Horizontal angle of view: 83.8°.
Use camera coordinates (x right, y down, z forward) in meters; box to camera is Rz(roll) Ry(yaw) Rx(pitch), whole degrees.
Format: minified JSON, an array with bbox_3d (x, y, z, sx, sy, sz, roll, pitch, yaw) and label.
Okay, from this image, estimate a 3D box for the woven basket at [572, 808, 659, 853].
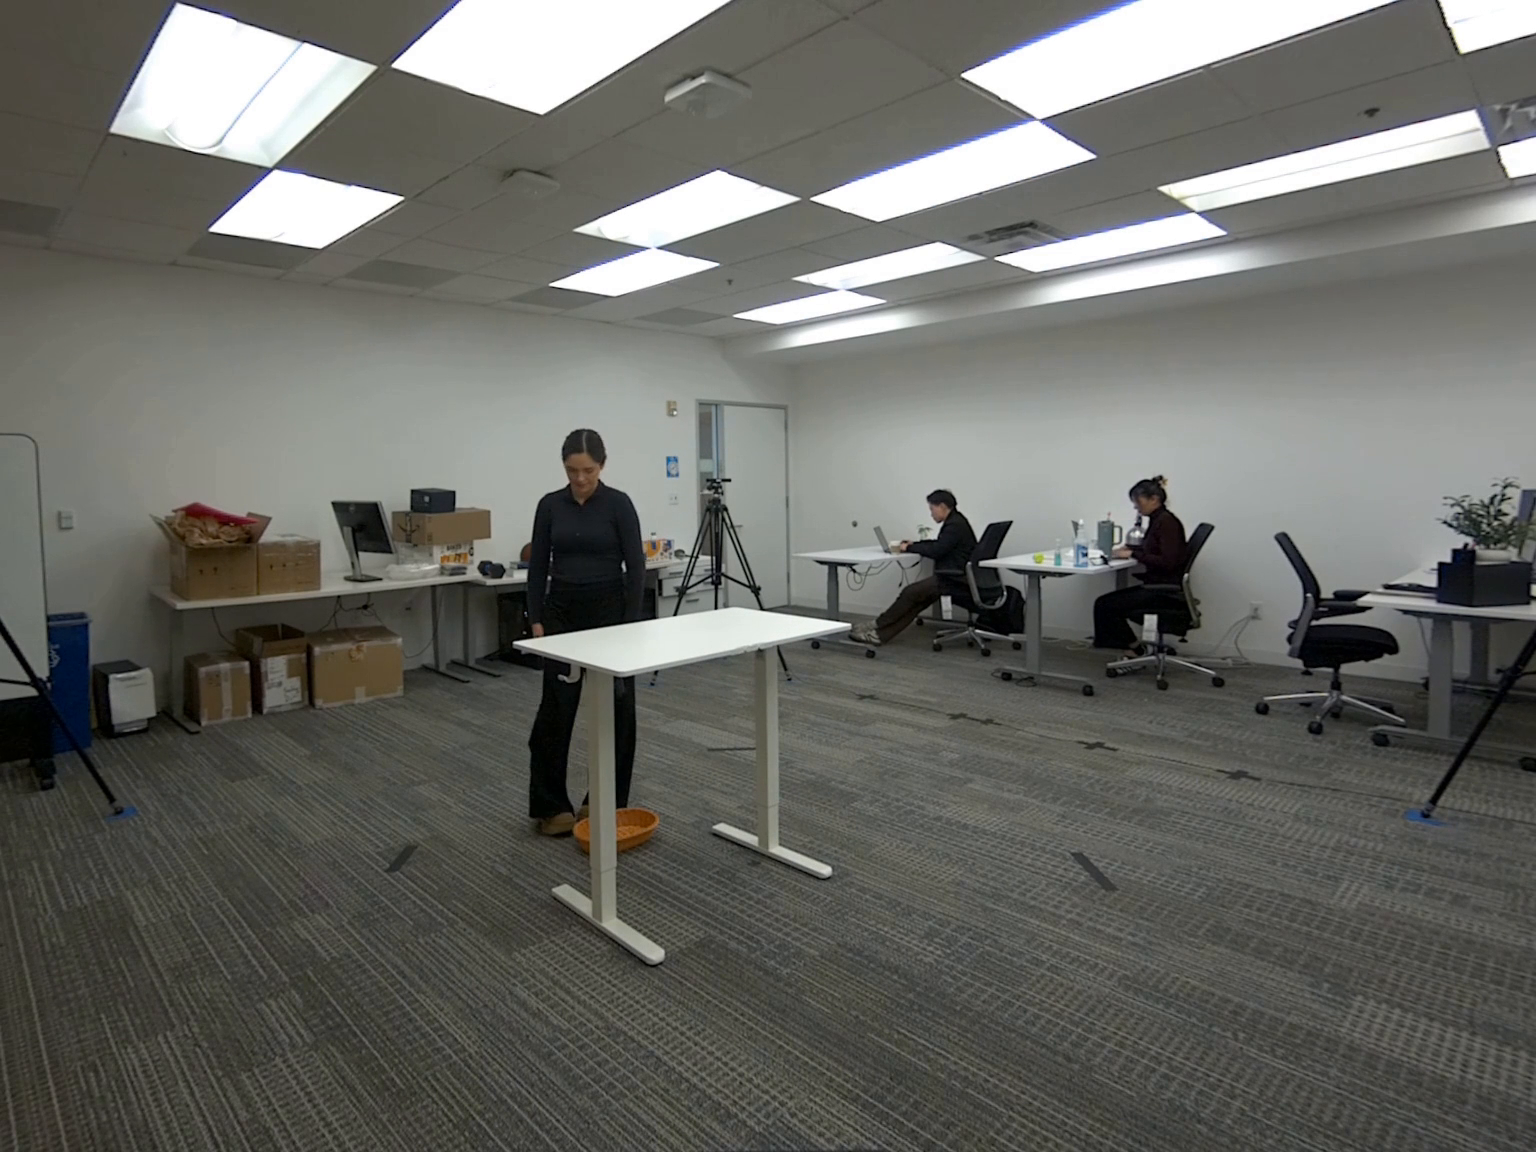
[{"bbox_3d":[-0.586,0.986,3.308,0.341,0.073,0.260,-6,9,-38],"label":"woven basket"}]
